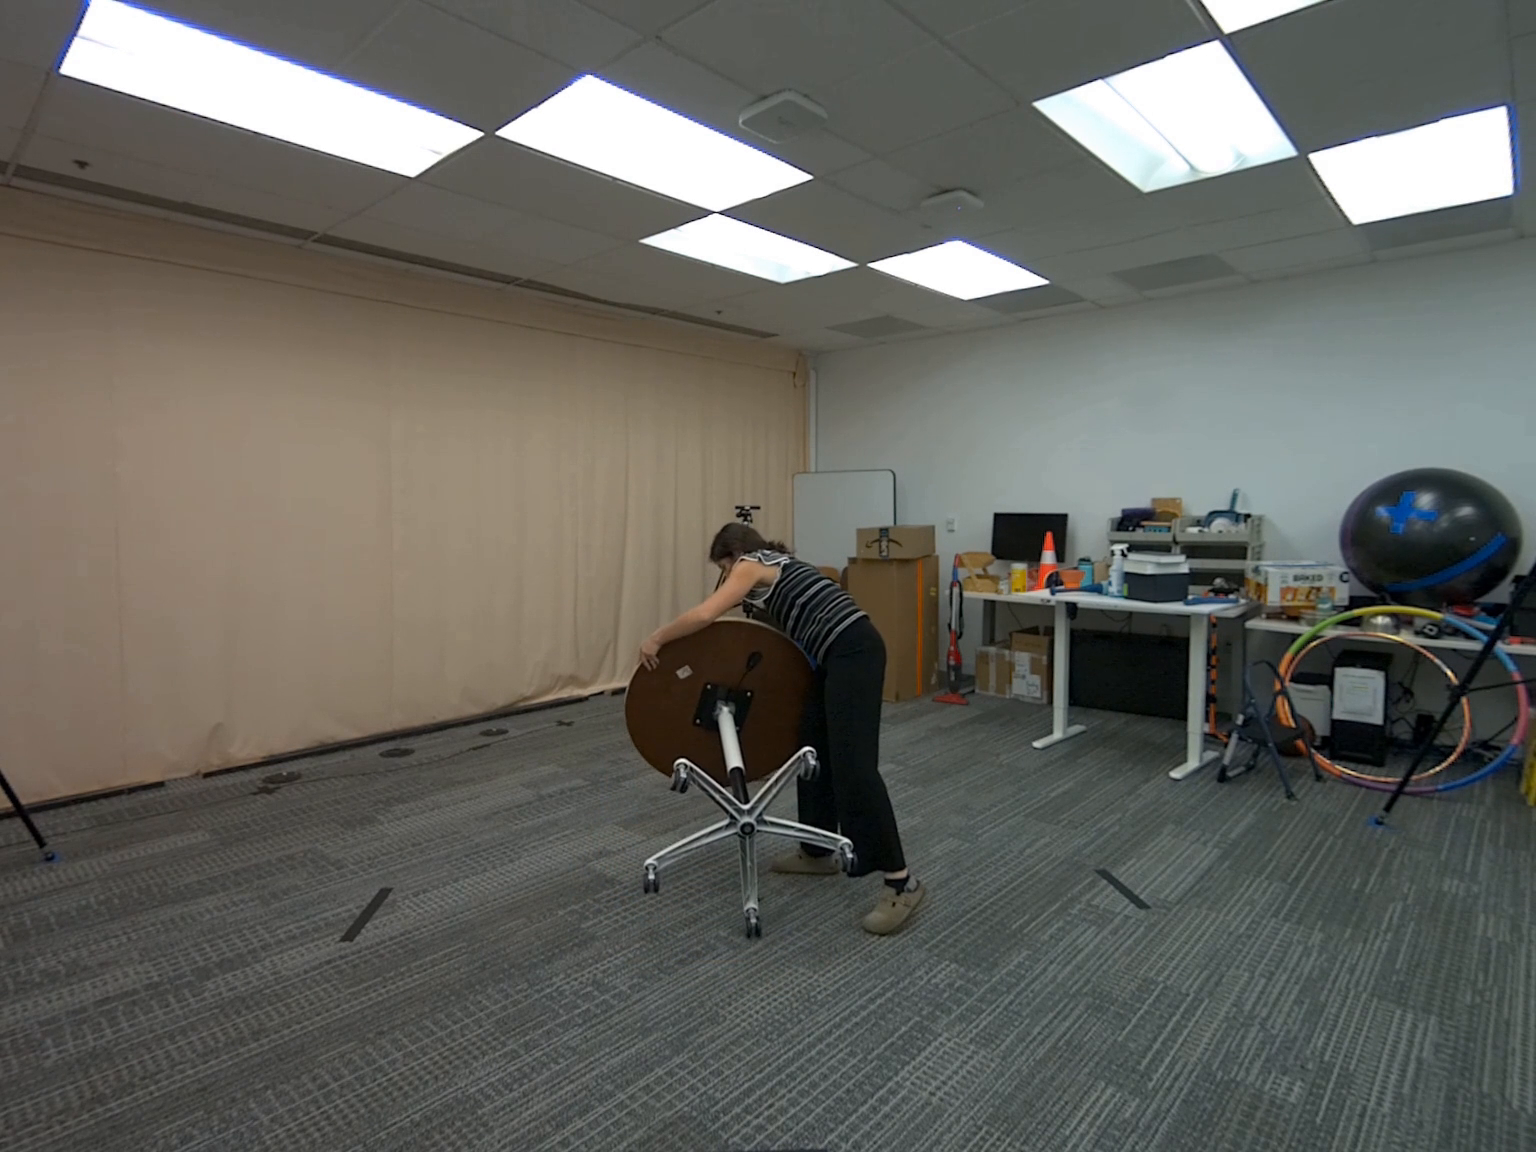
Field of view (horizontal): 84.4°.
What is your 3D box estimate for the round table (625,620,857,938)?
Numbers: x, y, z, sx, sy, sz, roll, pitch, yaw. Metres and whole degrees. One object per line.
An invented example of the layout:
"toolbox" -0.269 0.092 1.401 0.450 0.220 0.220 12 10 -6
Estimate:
"round table" -0.121 0.674 2.939 0.758 0.755 0.810 -1 23 -8
